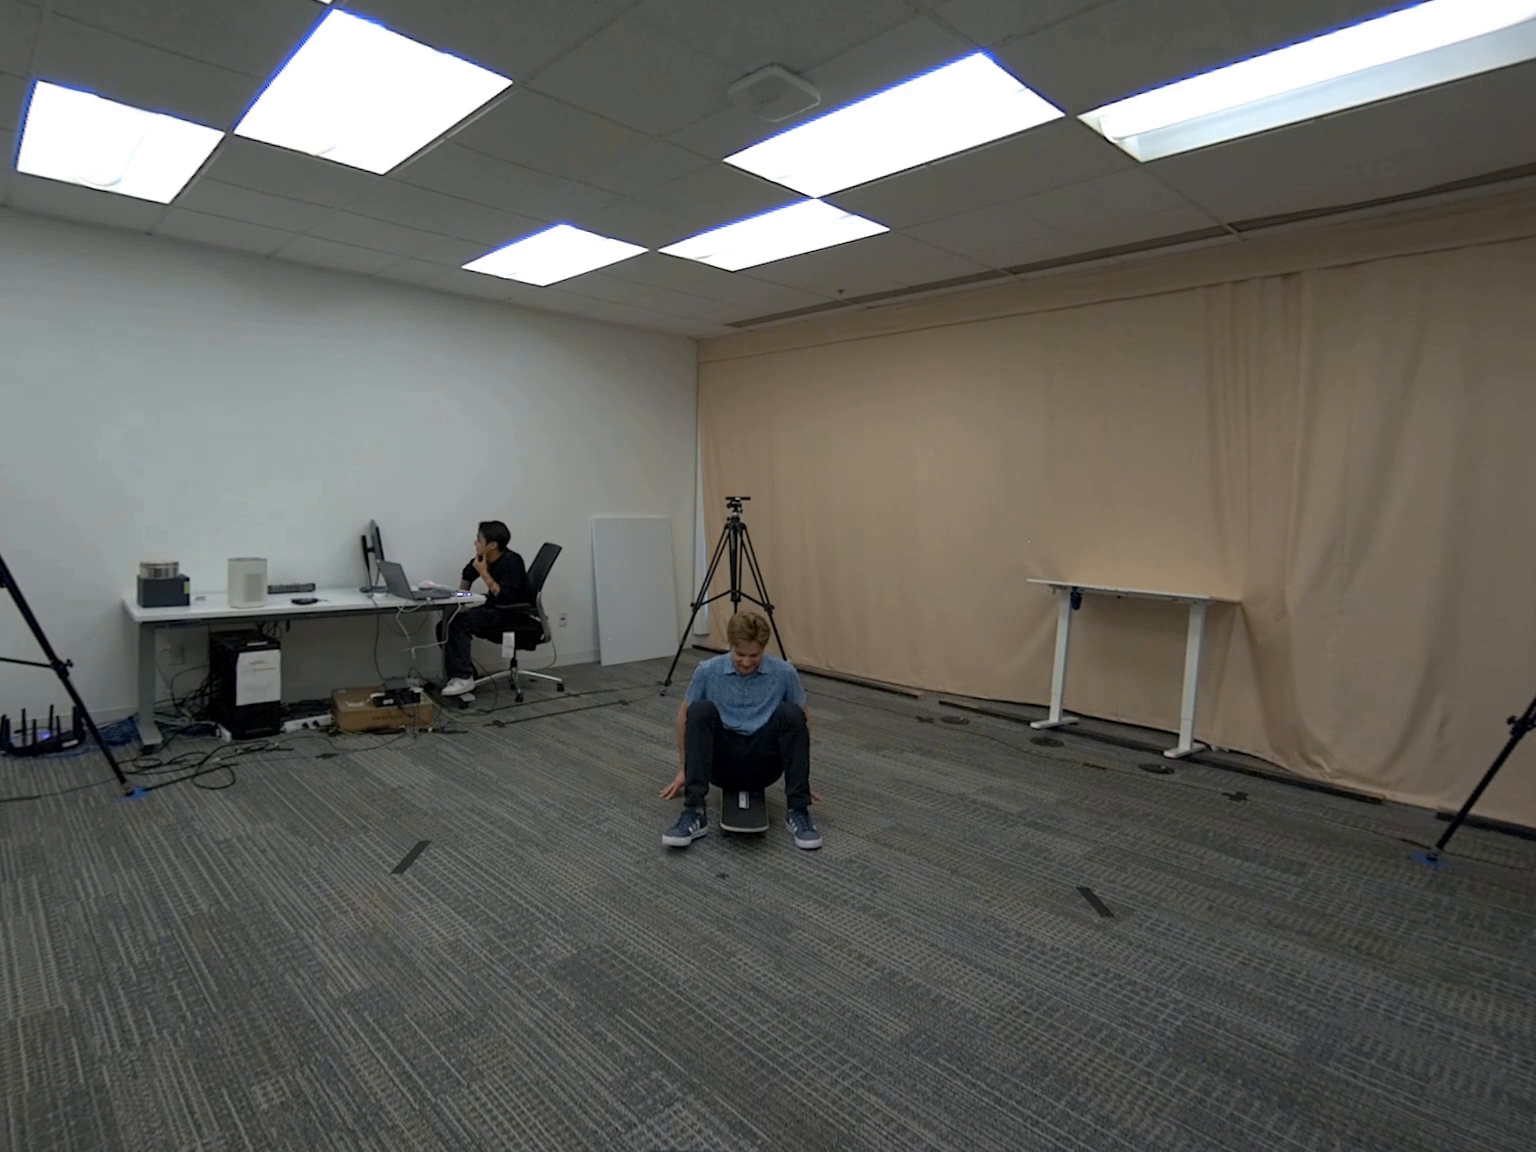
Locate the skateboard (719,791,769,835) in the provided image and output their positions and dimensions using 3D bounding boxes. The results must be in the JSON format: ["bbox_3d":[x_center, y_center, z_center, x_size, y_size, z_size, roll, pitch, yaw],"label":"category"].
[{"bbox_3d":[-0.118,1.007,3.668,0.193,0.110,0.787,1,3,-2],"label":"skateboard"}]
